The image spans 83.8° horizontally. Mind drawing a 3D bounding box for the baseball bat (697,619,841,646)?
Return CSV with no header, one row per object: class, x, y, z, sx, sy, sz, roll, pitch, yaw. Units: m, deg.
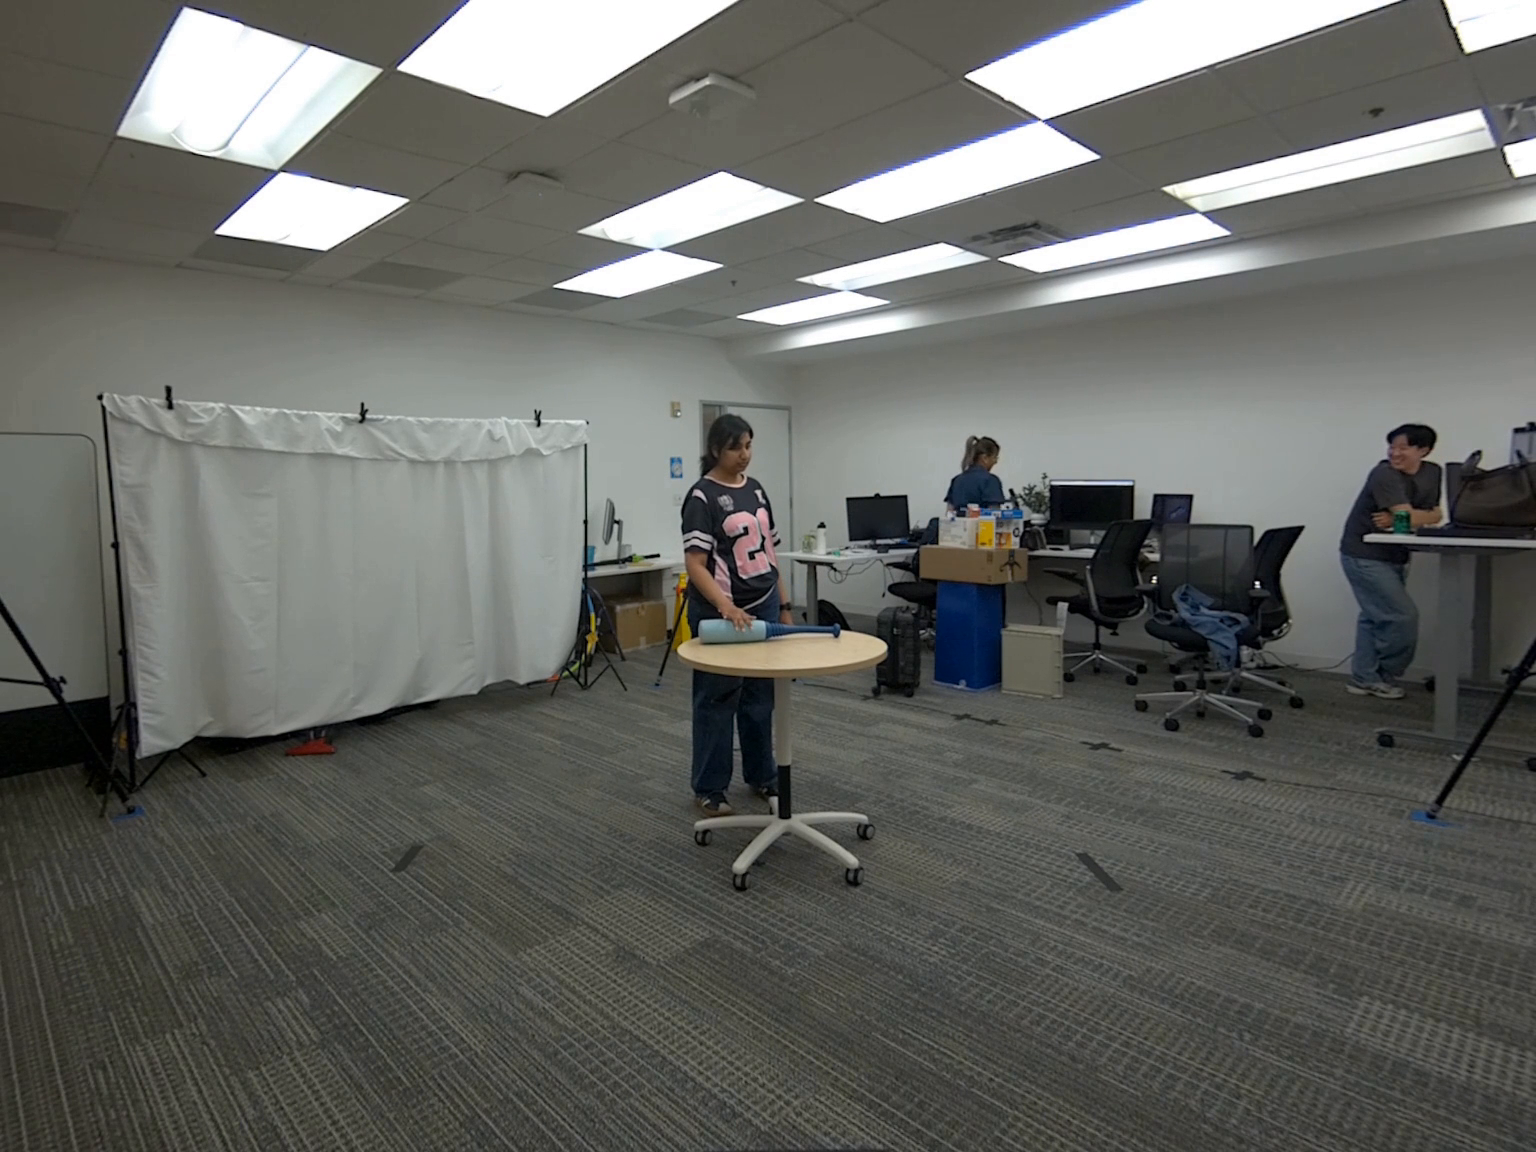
baseball bat,0.006,0.211,3.251,0.539,0.089,0.090,0,5,-7
